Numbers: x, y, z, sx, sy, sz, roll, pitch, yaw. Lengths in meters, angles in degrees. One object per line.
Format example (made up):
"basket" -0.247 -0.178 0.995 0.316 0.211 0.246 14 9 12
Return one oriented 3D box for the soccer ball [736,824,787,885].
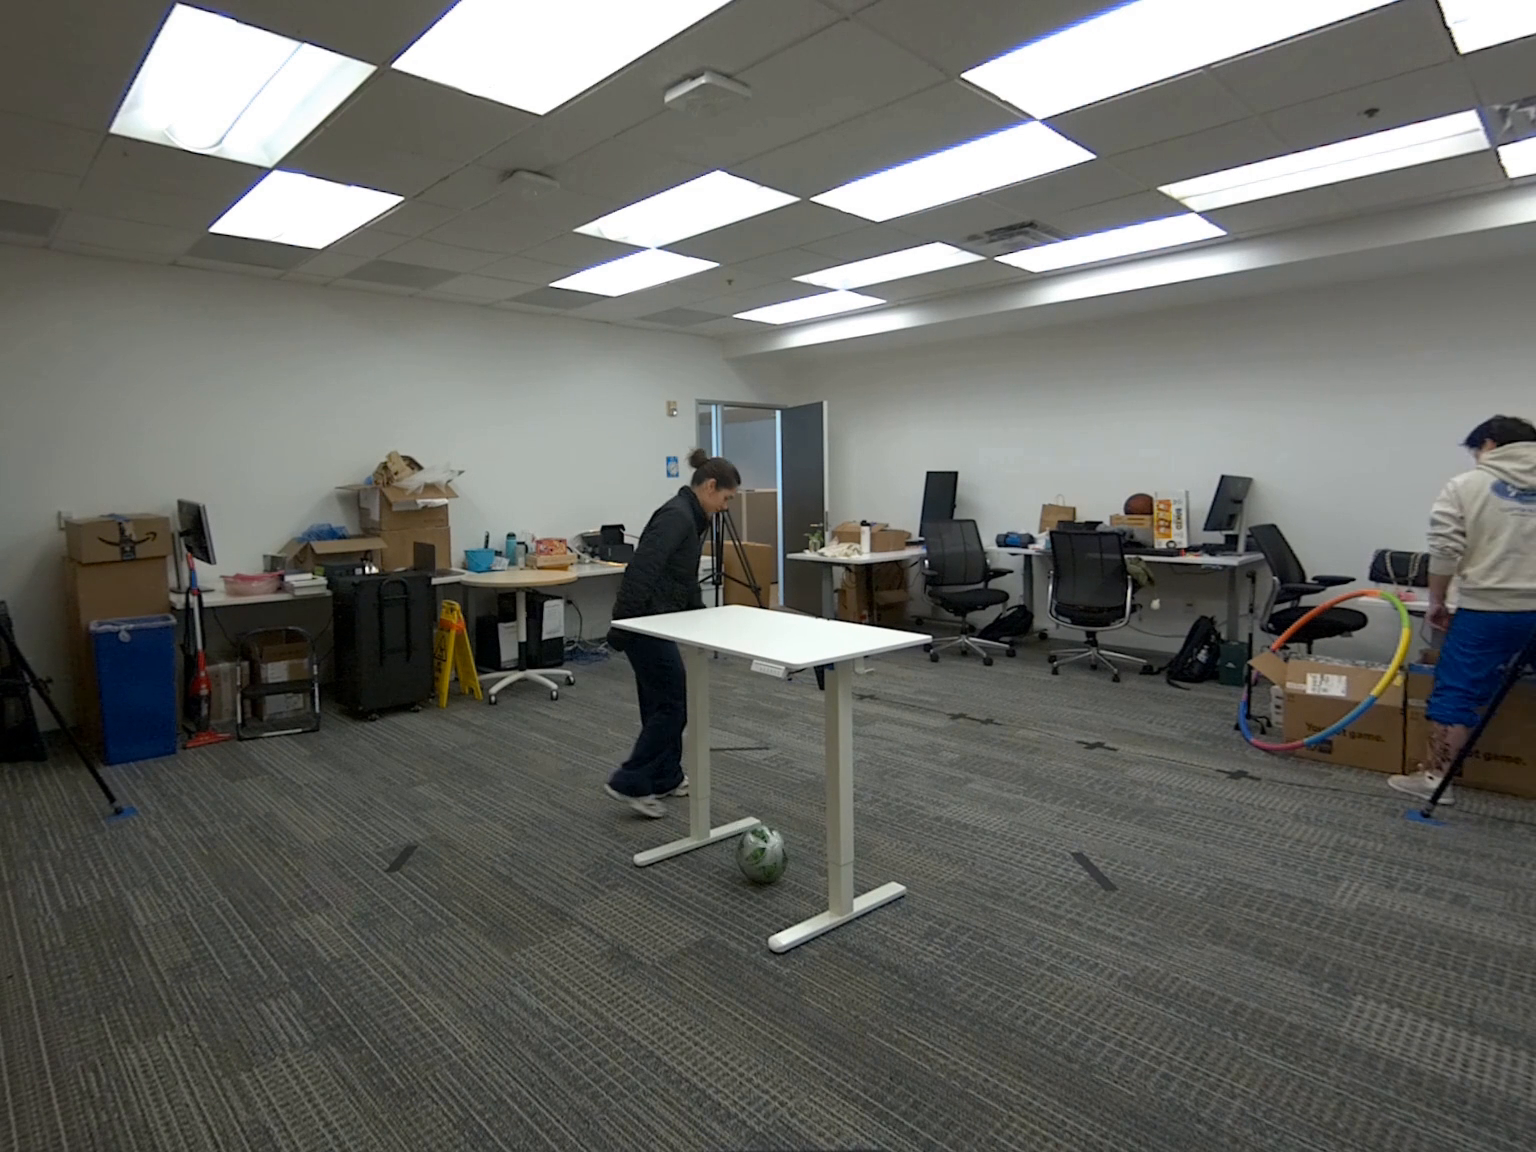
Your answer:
"soccer ball" -0.013 0.967 2.969 0.187 0.187 0.188 -1 5 -2
